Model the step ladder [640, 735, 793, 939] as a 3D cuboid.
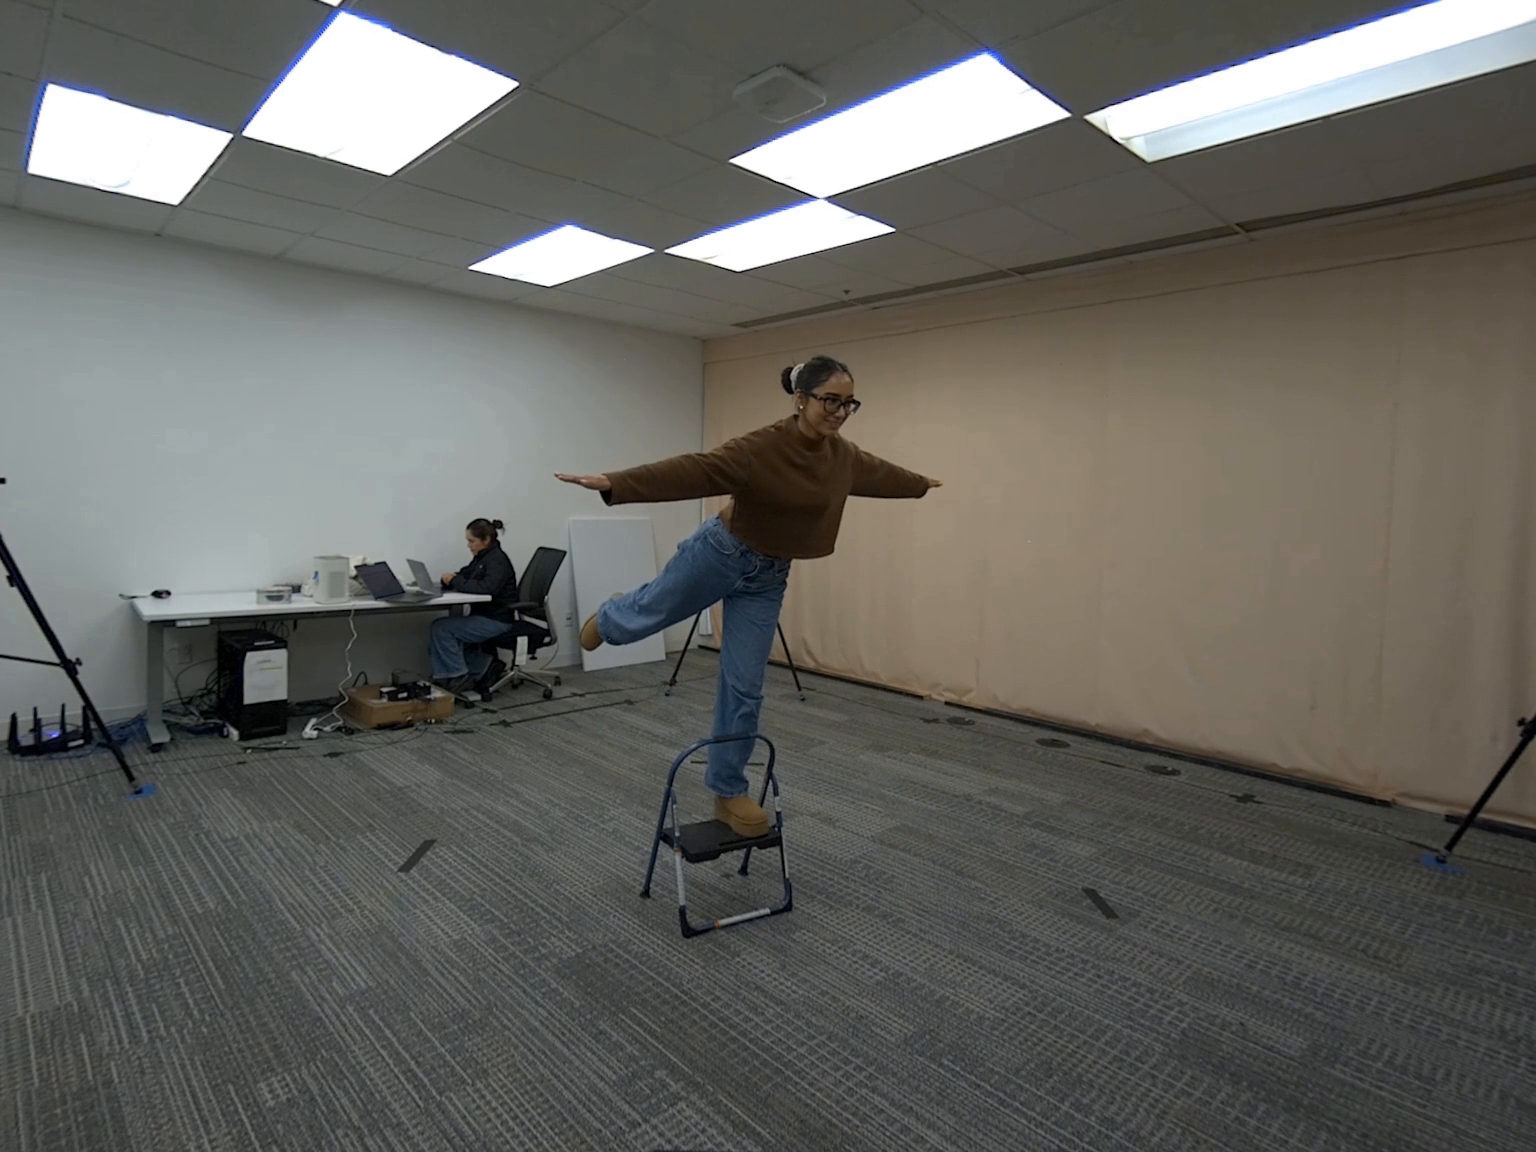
[{"bbox_3d":[-0.176,0.825,2.880,0.421,0.604,0.357,-1,4,-32],"label":"step ladder"}]
